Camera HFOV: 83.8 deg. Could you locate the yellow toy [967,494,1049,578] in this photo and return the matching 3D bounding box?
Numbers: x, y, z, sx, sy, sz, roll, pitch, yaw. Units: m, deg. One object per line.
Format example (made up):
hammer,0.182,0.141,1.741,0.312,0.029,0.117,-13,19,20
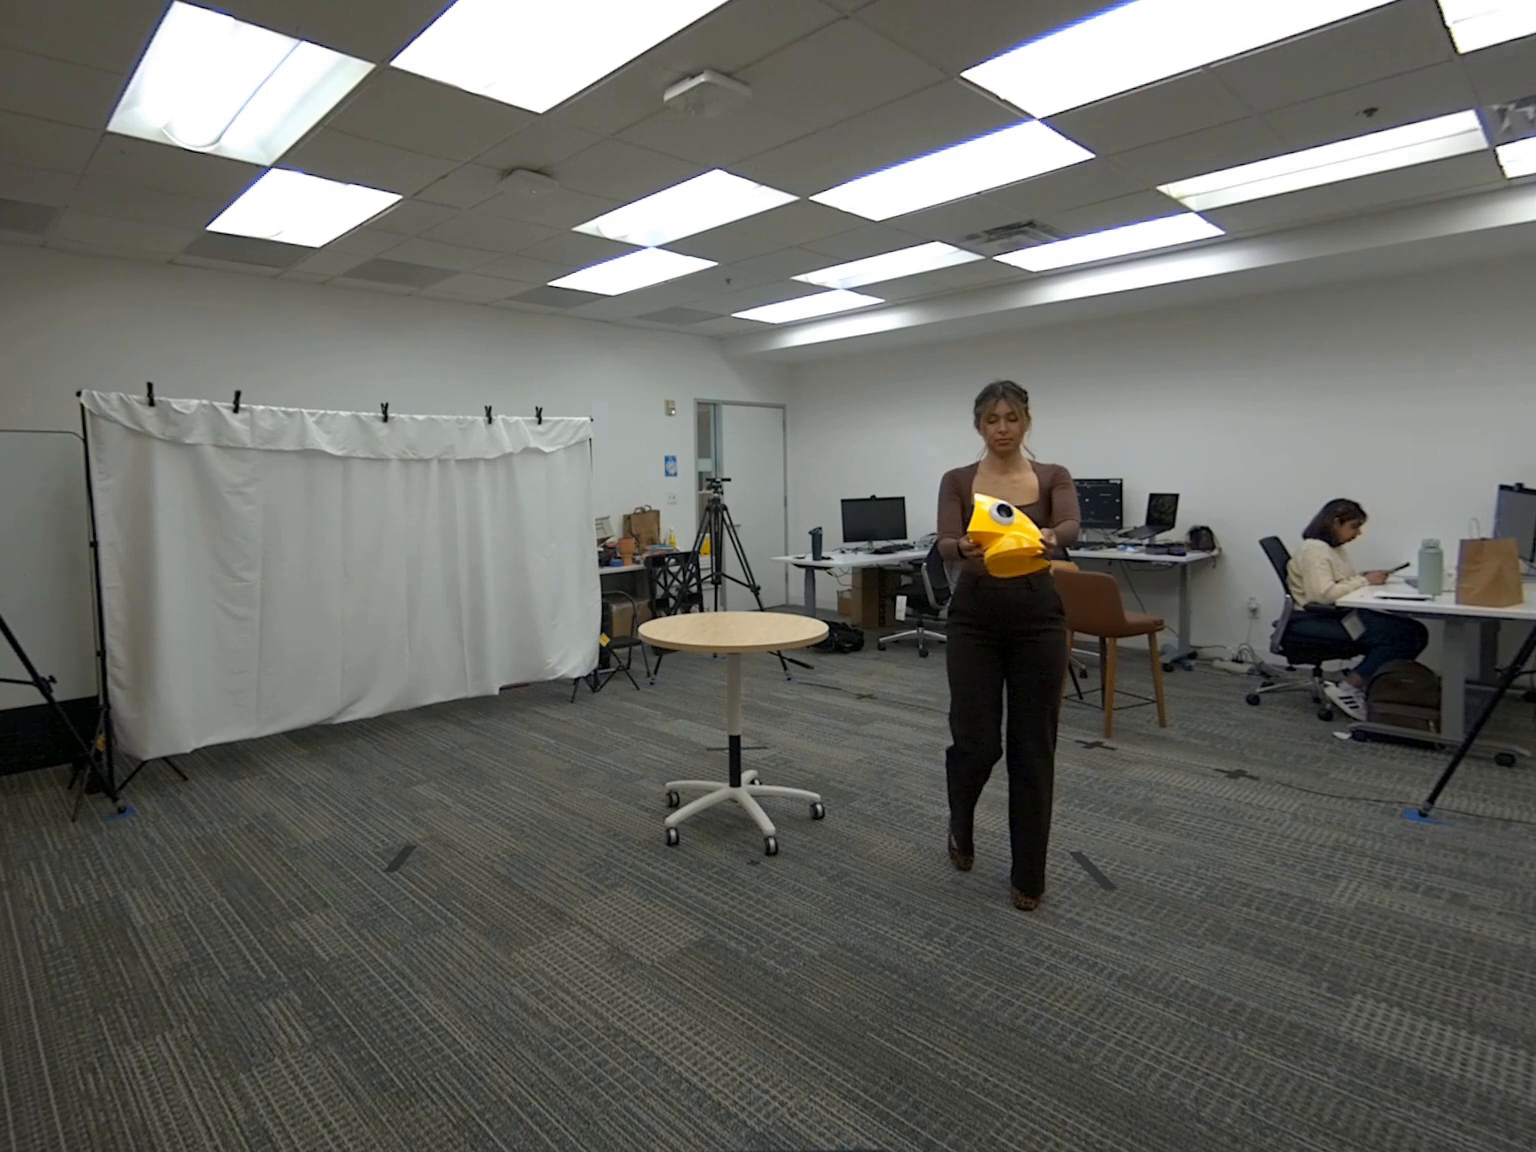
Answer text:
yellow toy,0.660,-0.137,2.377,0.196,0.236,0.197,-14,-25,20
